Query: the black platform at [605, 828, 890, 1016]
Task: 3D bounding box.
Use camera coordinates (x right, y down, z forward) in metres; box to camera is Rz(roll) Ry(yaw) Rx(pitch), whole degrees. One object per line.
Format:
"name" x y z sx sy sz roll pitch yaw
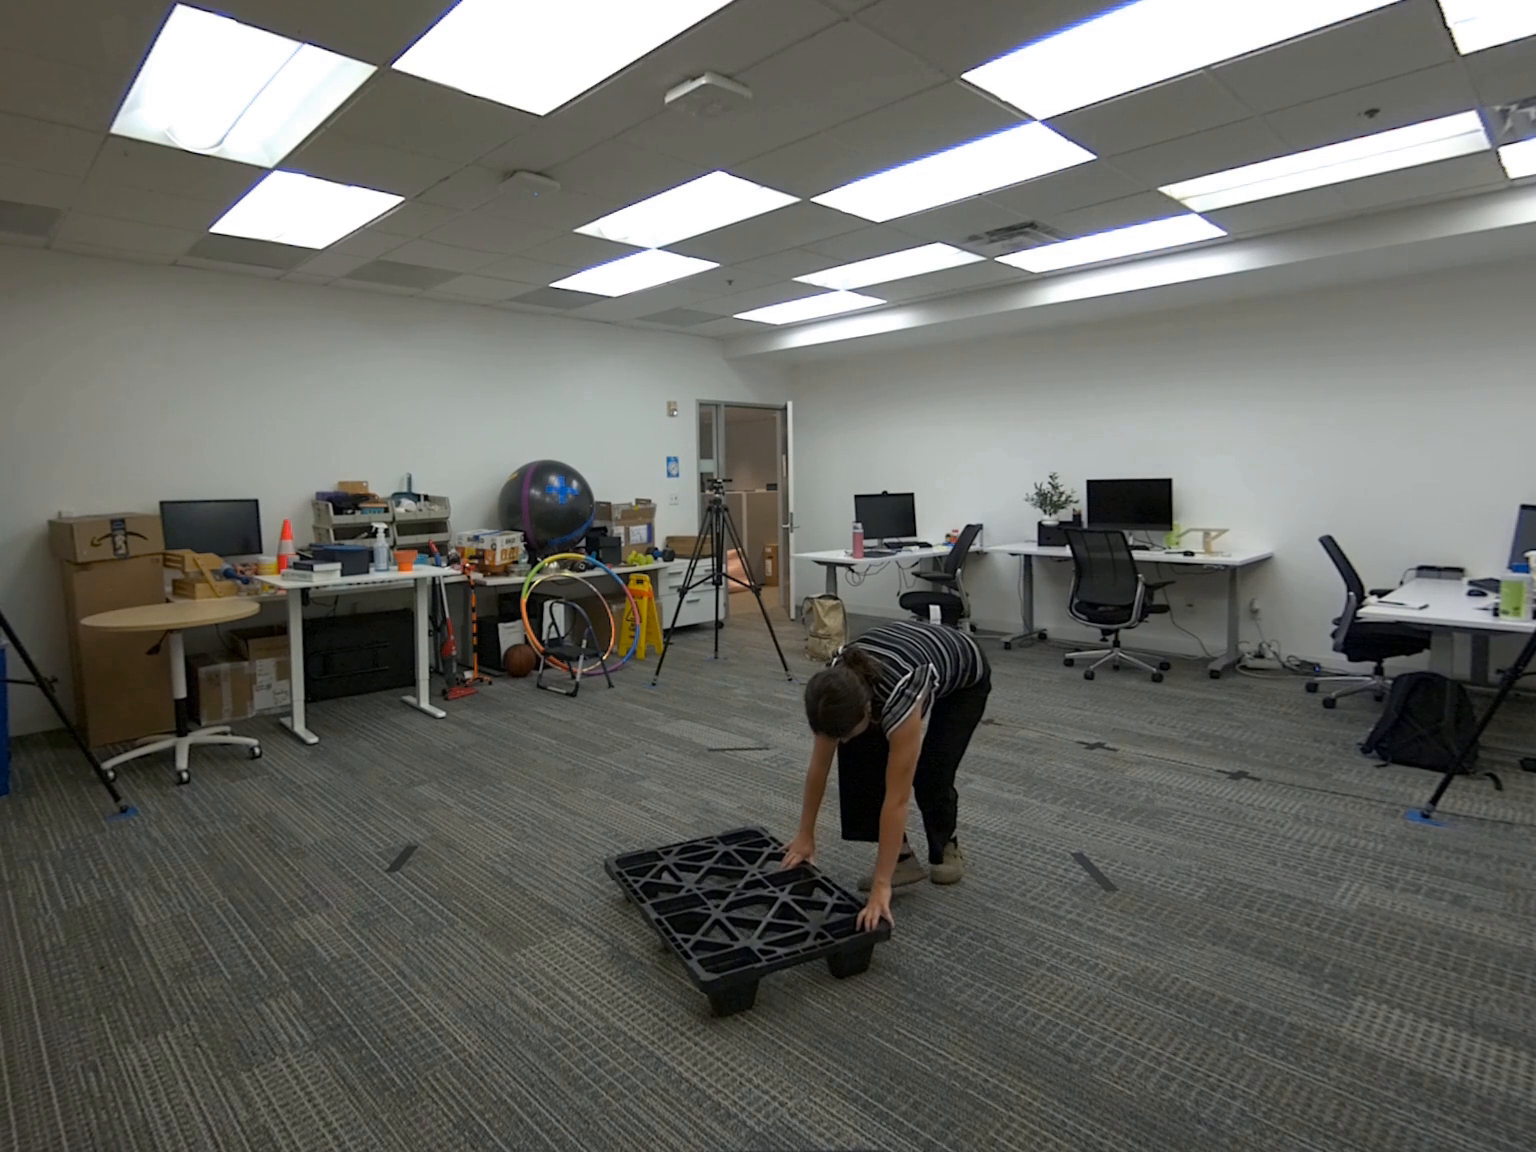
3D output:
"black platform" -0.098 1.031 2.638 0.592 0.142 0.827 -5 7 -28
